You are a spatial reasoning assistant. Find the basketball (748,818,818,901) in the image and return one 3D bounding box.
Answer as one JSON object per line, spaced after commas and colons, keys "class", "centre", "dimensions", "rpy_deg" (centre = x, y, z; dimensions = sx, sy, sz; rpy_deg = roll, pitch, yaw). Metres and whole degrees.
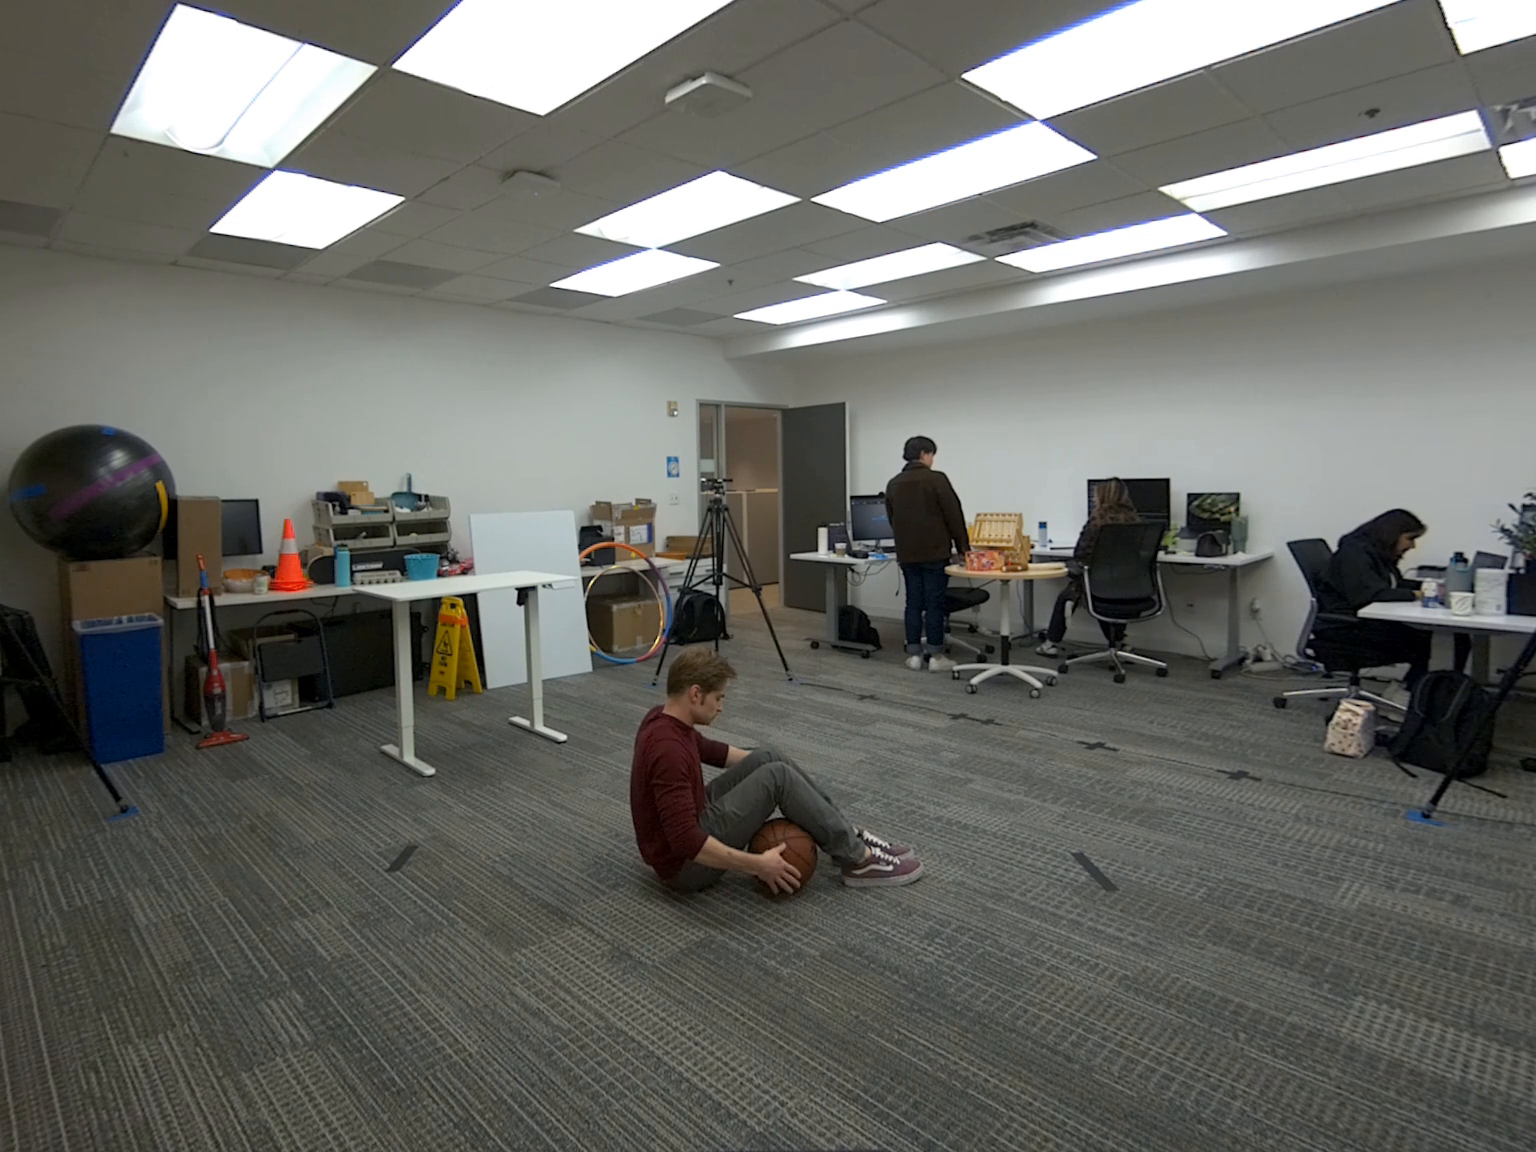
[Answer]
{"class": "basketball", "centre": [0.037, 0.951, 2.909], "dimensions": [0.236, 0.235, 0.237], "rpy_deg": [-1, 5, -2]}
